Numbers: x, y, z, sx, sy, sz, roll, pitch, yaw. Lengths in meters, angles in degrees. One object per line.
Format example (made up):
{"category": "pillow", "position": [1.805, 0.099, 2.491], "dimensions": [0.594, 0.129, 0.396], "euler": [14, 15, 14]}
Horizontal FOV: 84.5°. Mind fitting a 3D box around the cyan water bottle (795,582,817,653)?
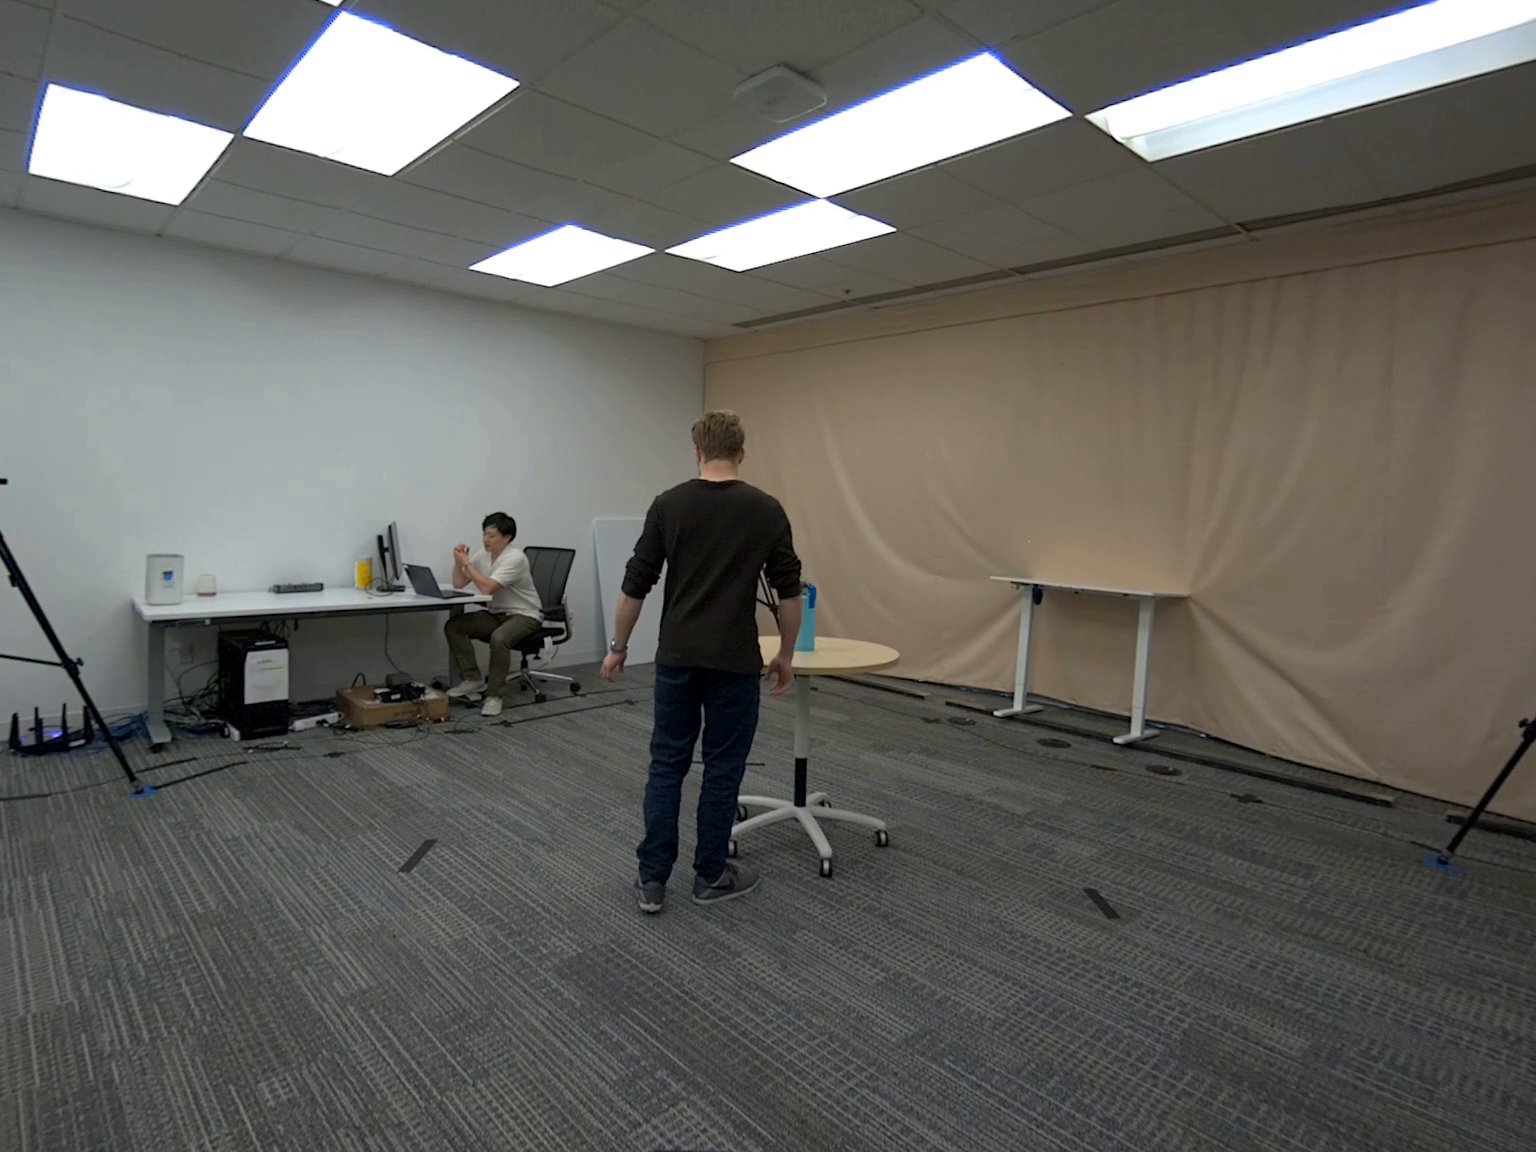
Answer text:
{"category": "cyan water bottle", "position": [0.144, 0.164, 3.446], "dimensions": [0.092, 0.283, 0.092], "euler": [3, 3, -2]}
